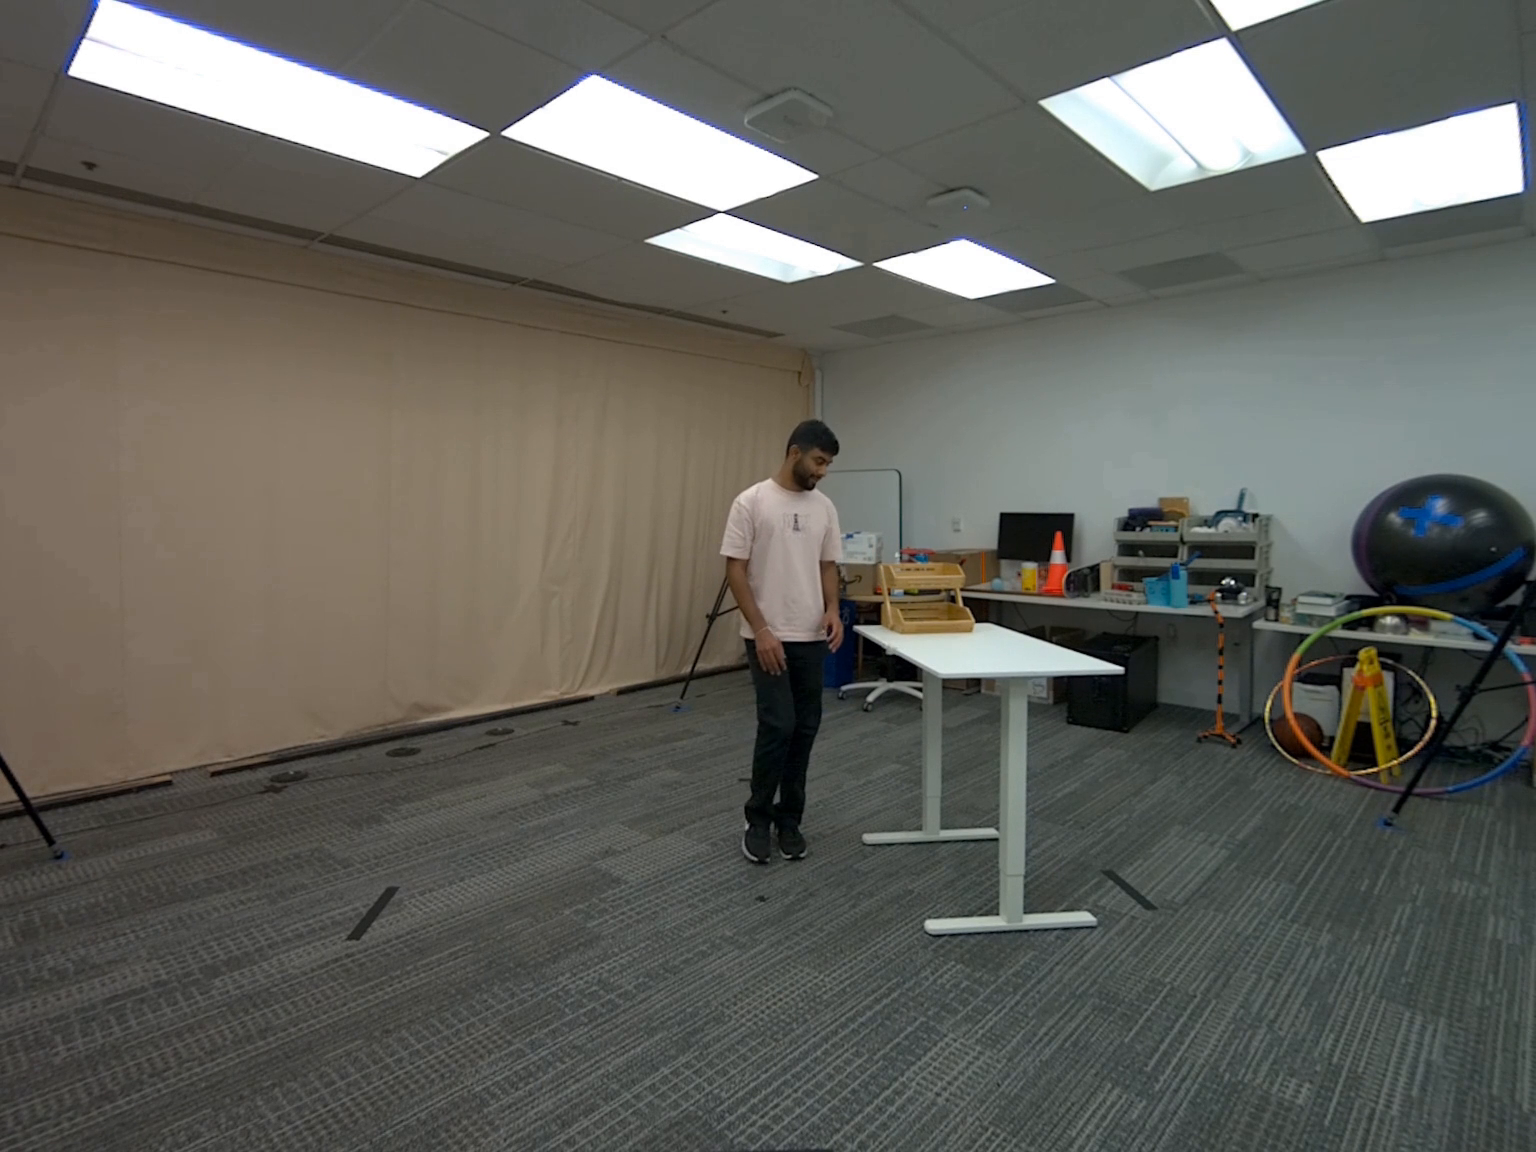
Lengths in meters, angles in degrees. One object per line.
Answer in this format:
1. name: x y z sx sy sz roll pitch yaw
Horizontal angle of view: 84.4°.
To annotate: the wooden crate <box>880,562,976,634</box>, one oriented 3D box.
1. wooden crate: 0.655 0.082 3.461 0.321 0.273 0.305 0 2 -10
